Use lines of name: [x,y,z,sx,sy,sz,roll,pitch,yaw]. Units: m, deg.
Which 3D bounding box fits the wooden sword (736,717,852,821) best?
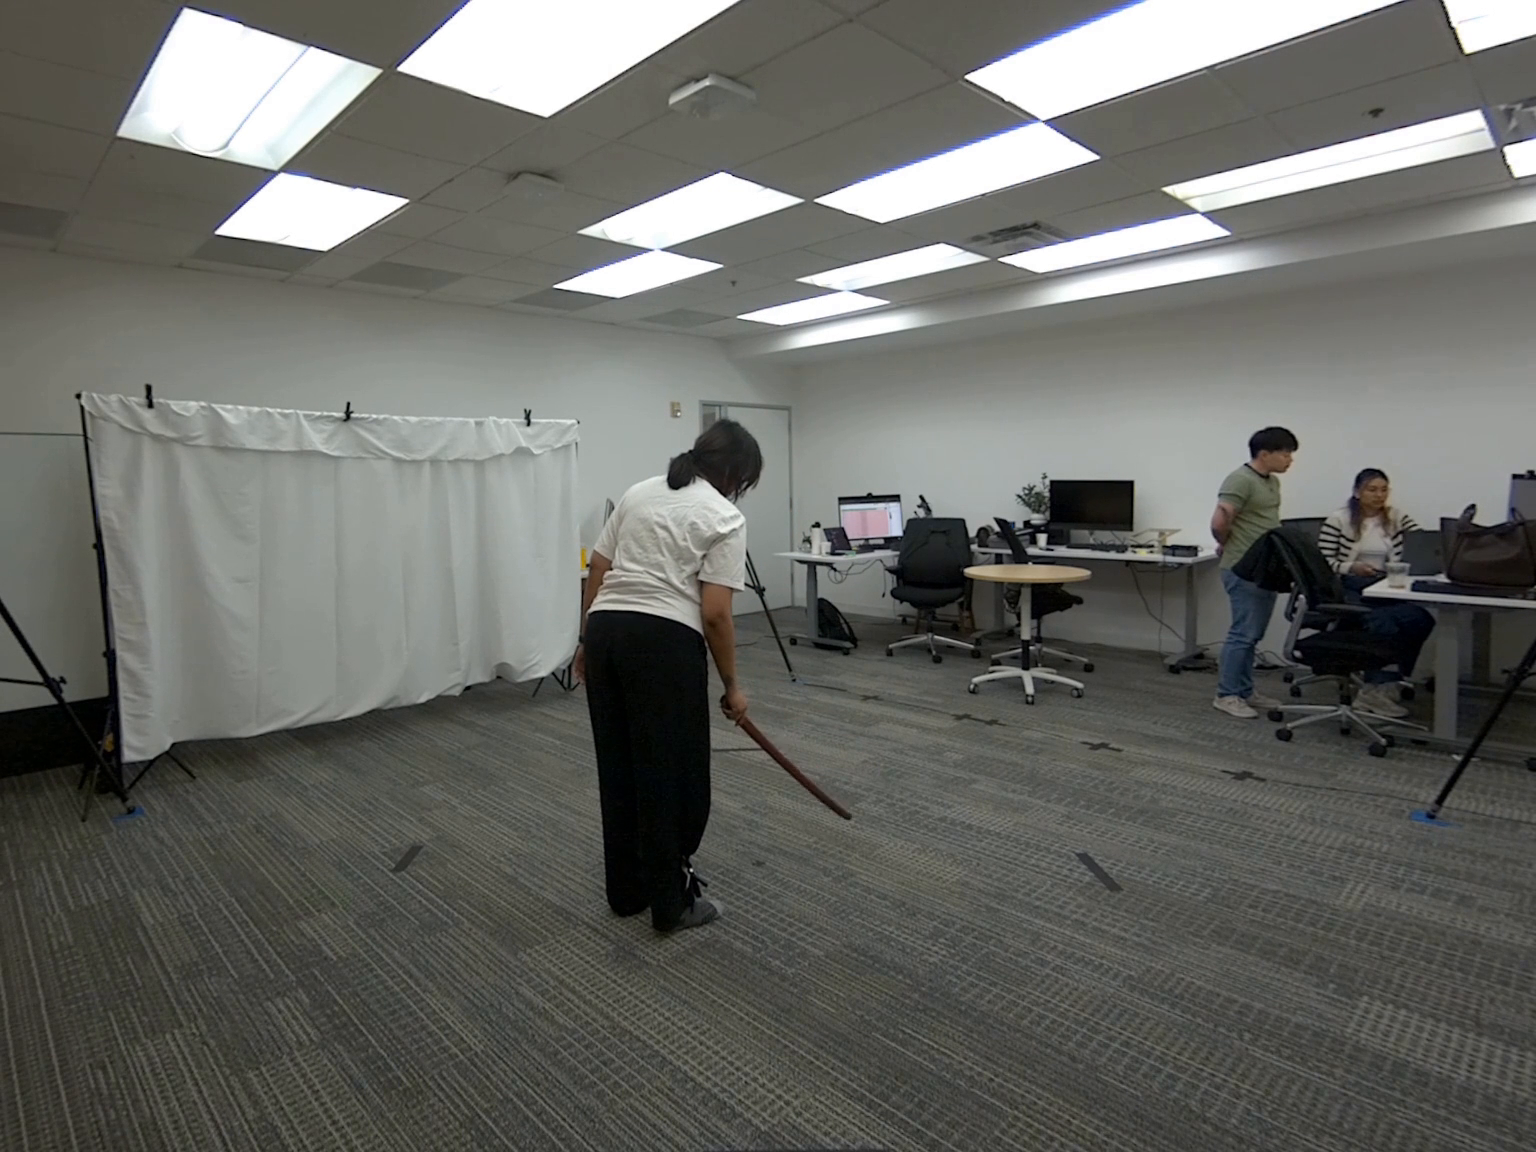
wooden sword: [0.093,0.679,3.024,0.051,0.025,0.985,-31,-47,9]
